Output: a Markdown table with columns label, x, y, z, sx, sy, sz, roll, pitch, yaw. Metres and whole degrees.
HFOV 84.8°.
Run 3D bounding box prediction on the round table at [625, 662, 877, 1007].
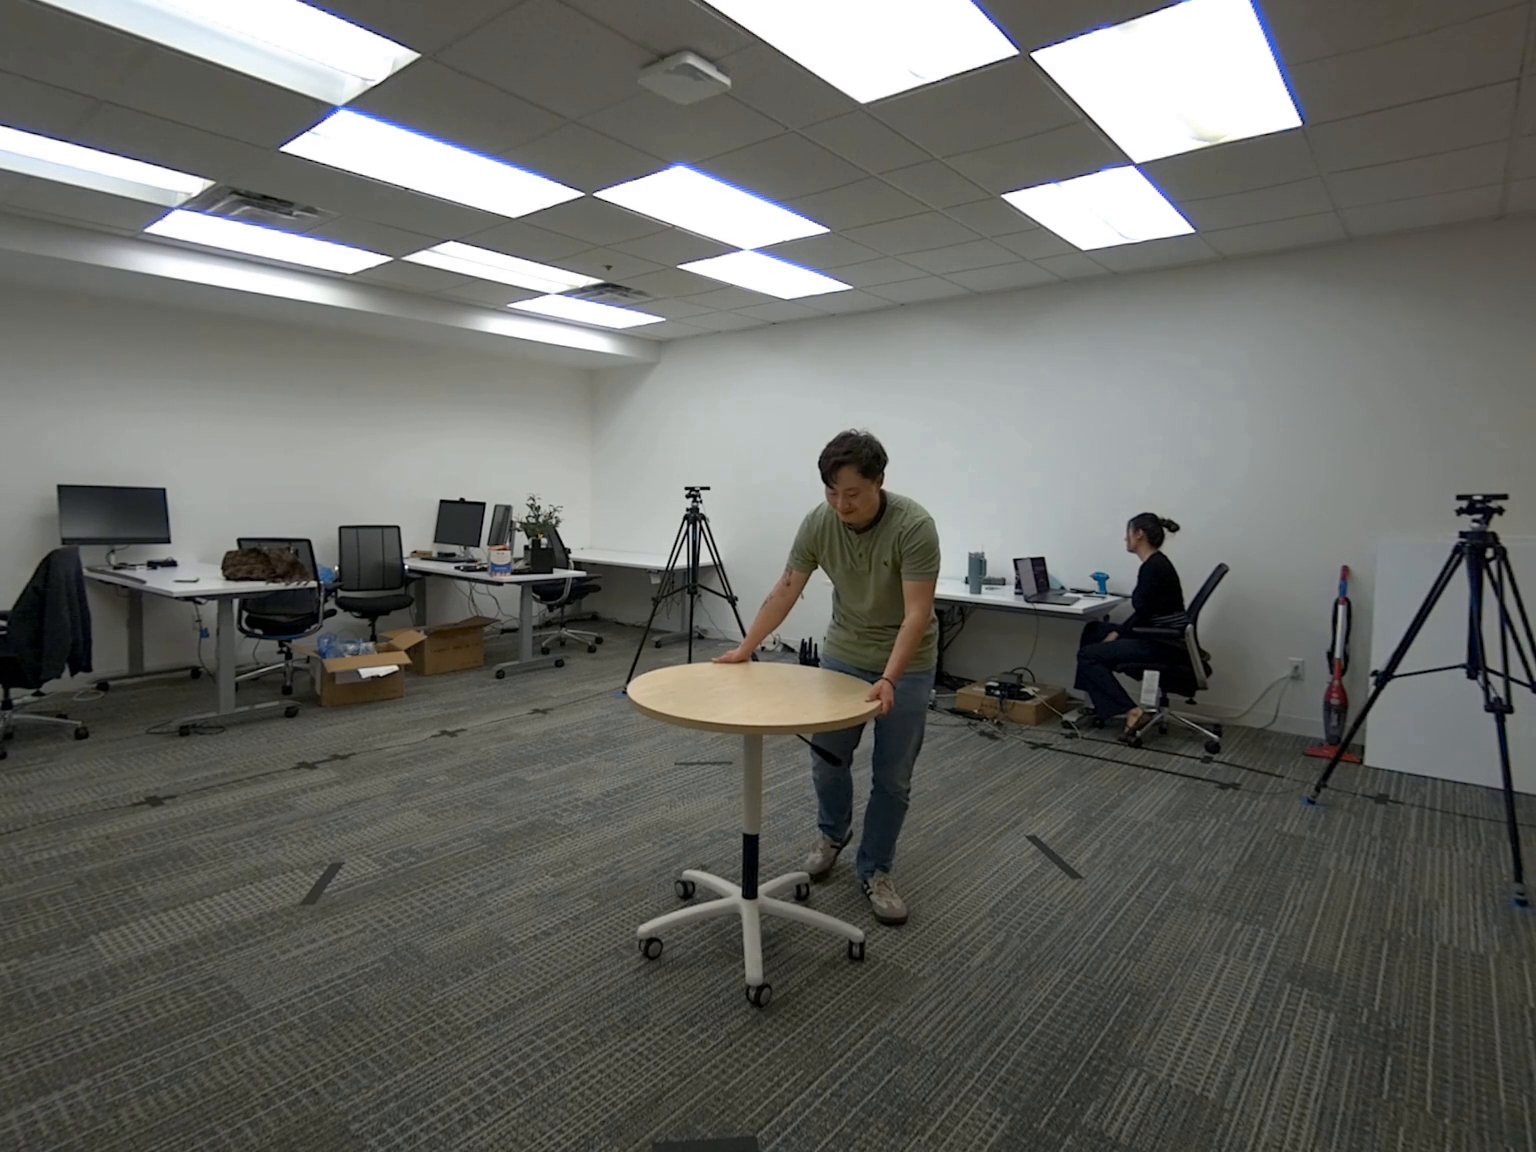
| label | x | y | z | sx | sy | sz | roll | pitch | yaw |
| --- | --- | --- | --- | --- | --- | --- | --- | --- | --- |
| round table | -0.062 | 0.729 | 2.594 | 0.763 | 0.791 | 0.768 | 1 | 5 | -2 |
